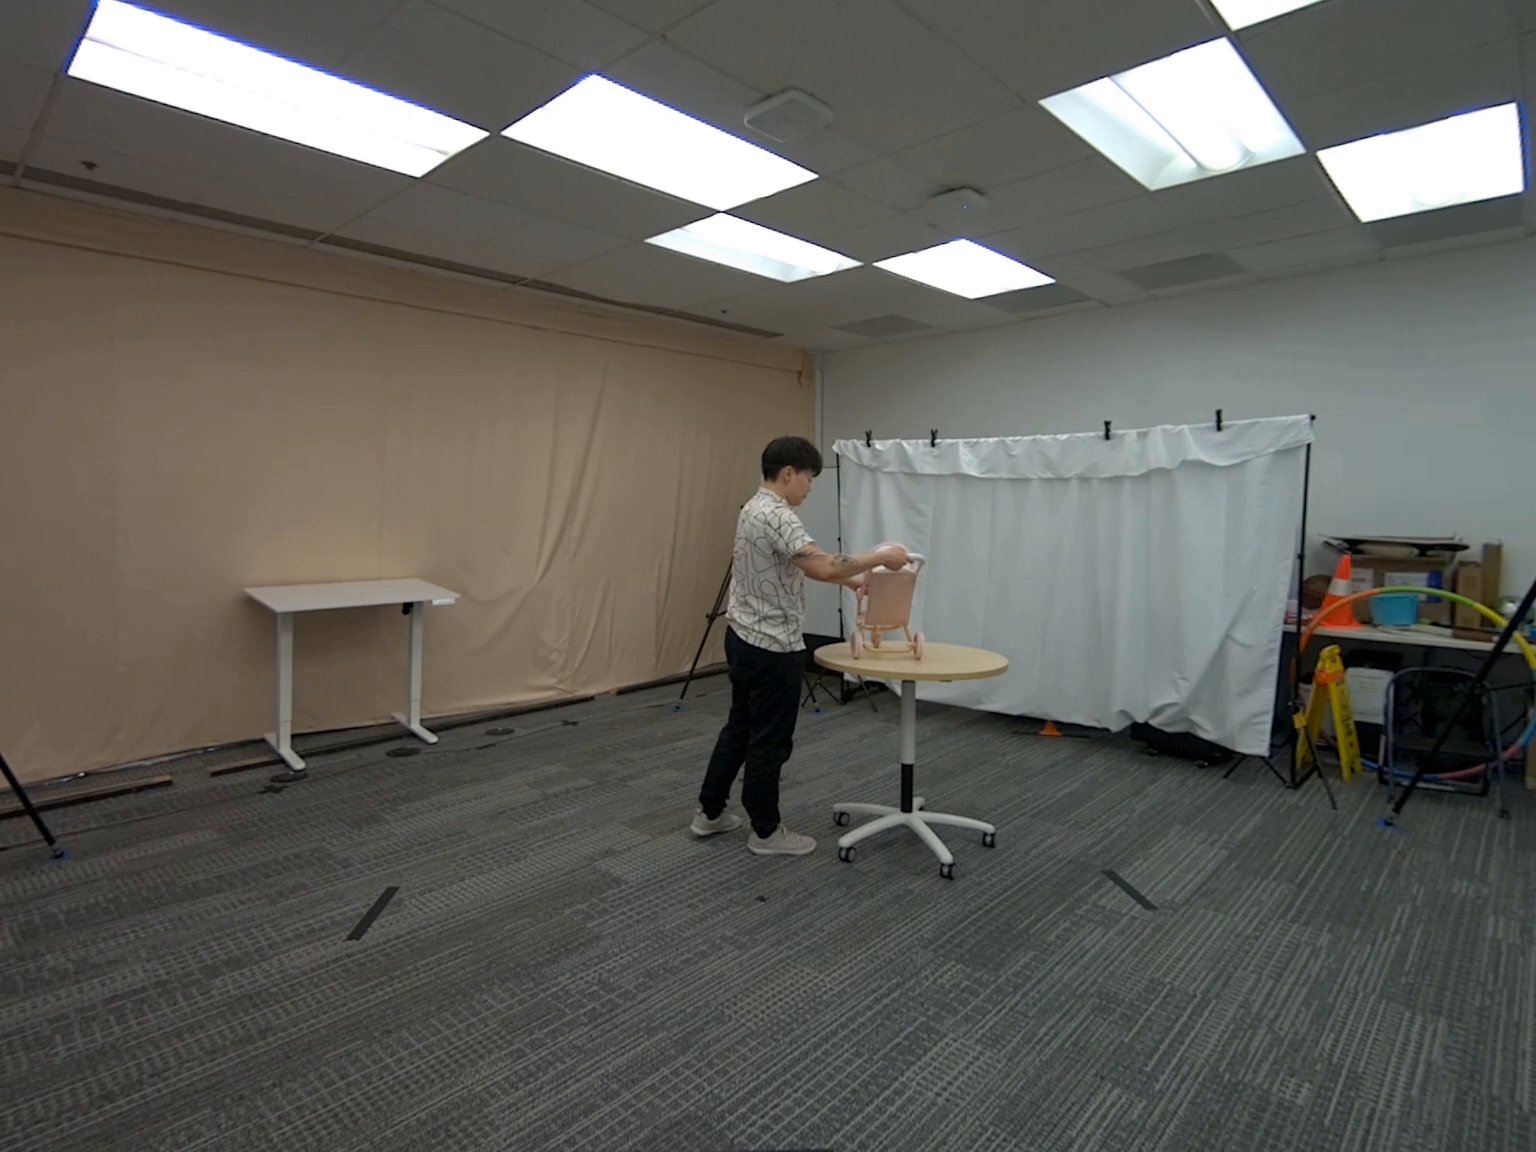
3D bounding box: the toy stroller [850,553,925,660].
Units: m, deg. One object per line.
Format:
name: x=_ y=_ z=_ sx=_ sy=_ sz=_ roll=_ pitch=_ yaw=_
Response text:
toy stroller: x=0.482 y=0.104 z=3.387 sx=0.282 sy=0.529 sz=0.344 roll=2 pitch=19 yaw=2
